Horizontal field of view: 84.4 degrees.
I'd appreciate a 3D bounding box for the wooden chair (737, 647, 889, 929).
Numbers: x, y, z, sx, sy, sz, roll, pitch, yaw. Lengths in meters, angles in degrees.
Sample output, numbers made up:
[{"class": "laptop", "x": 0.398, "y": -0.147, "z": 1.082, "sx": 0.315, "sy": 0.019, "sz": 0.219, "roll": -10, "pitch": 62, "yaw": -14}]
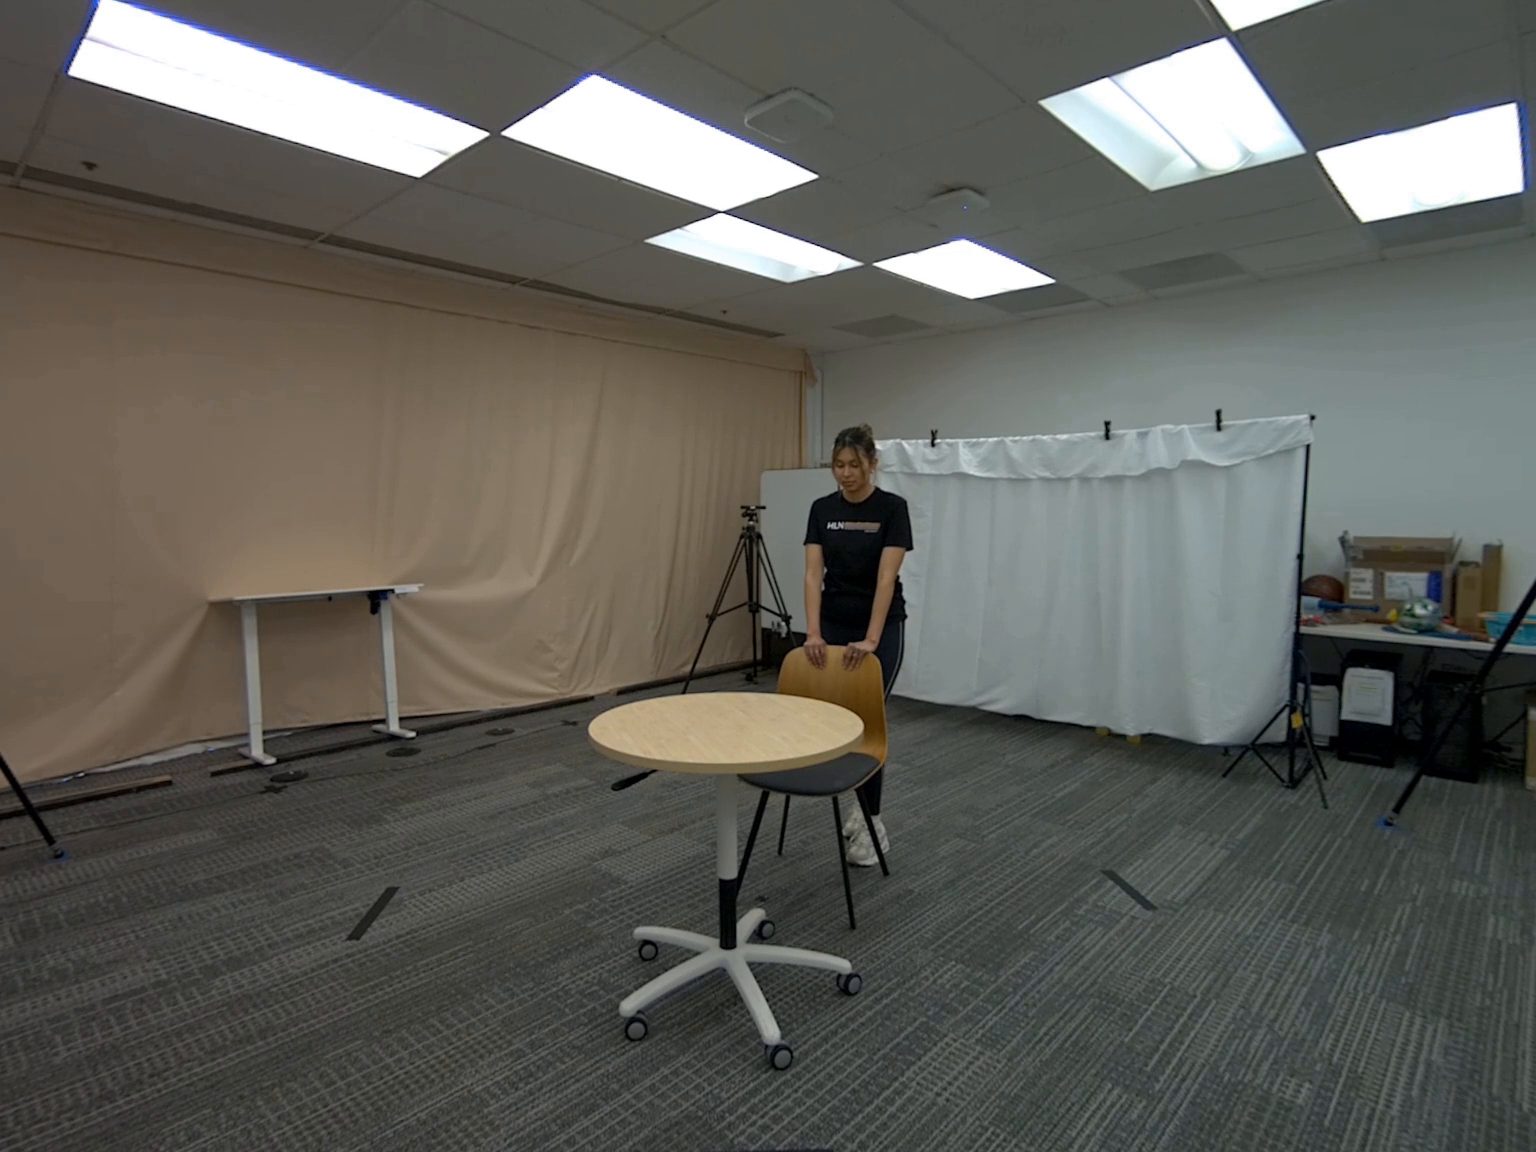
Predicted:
[{"class": "wooden chair", "x": 0.166, "y": 0.710, "z": 3.027, "sx": 0.490, "sy": 0.877, "sz": 0.510, "roll": 2, "pitch": 0, "yaw": 25}]
